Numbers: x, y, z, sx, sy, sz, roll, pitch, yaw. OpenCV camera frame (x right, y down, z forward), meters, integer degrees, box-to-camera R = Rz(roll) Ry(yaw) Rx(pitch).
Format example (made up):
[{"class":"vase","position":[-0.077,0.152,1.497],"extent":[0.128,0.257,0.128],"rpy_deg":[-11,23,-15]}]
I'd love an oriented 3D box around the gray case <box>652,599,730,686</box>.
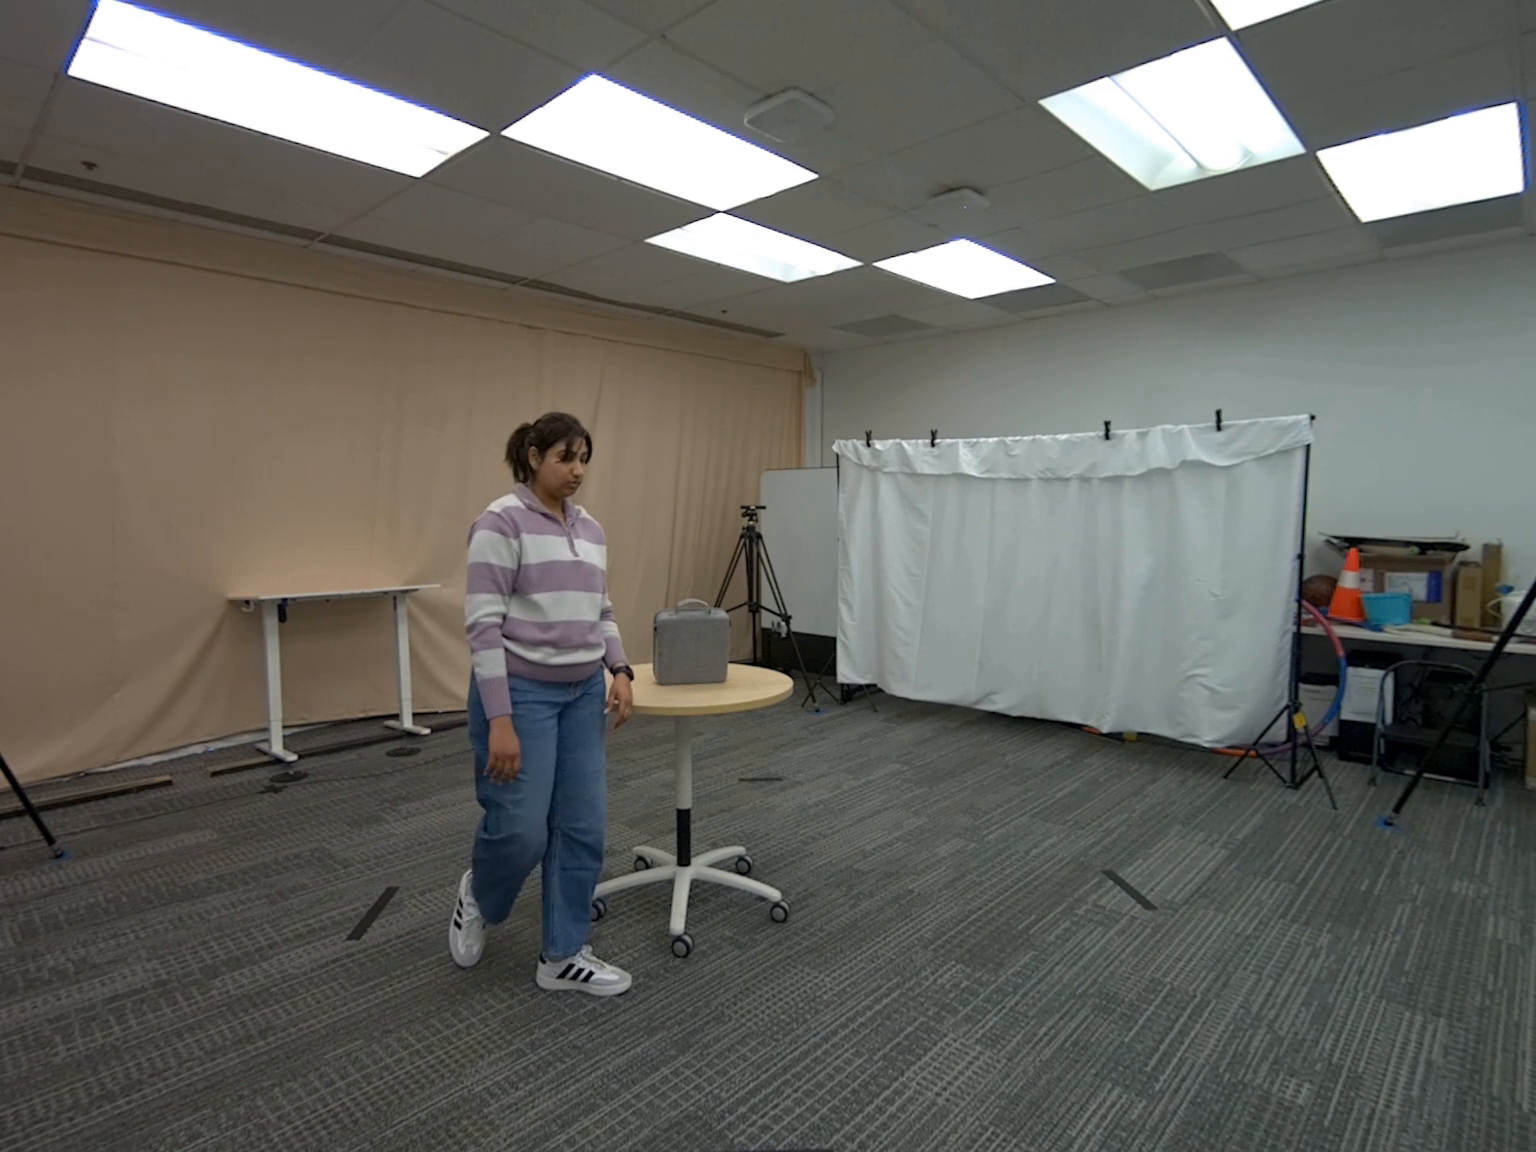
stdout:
[{"class":"gray case","position":[-0.263,0.240,2.881],"extent":[0.255,0.258,0.106],"rpy_deg":[-1,13,-7]}]
